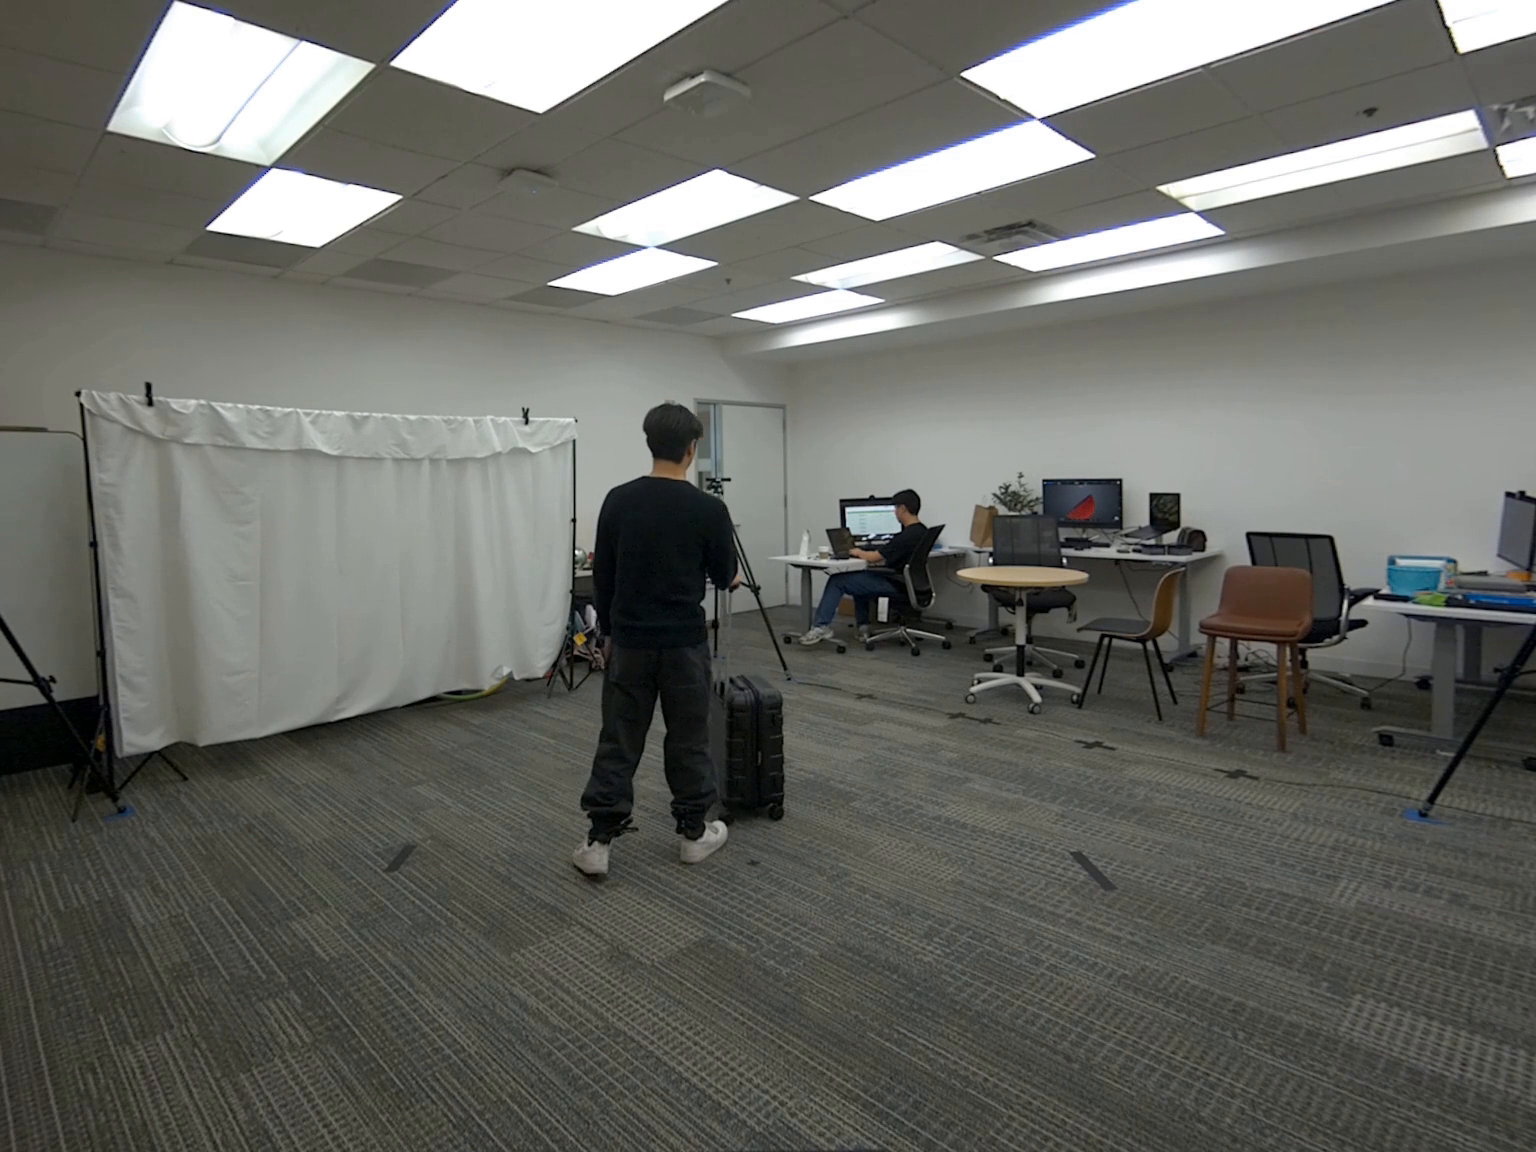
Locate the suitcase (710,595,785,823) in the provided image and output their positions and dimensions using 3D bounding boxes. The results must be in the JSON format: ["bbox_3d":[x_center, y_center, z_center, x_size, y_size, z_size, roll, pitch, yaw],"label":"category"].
[{"bbox_3d":[-0.085,0.512,3.613,0.254,0.976,0.390,1,3,-13],"label":"suitcase"}]
